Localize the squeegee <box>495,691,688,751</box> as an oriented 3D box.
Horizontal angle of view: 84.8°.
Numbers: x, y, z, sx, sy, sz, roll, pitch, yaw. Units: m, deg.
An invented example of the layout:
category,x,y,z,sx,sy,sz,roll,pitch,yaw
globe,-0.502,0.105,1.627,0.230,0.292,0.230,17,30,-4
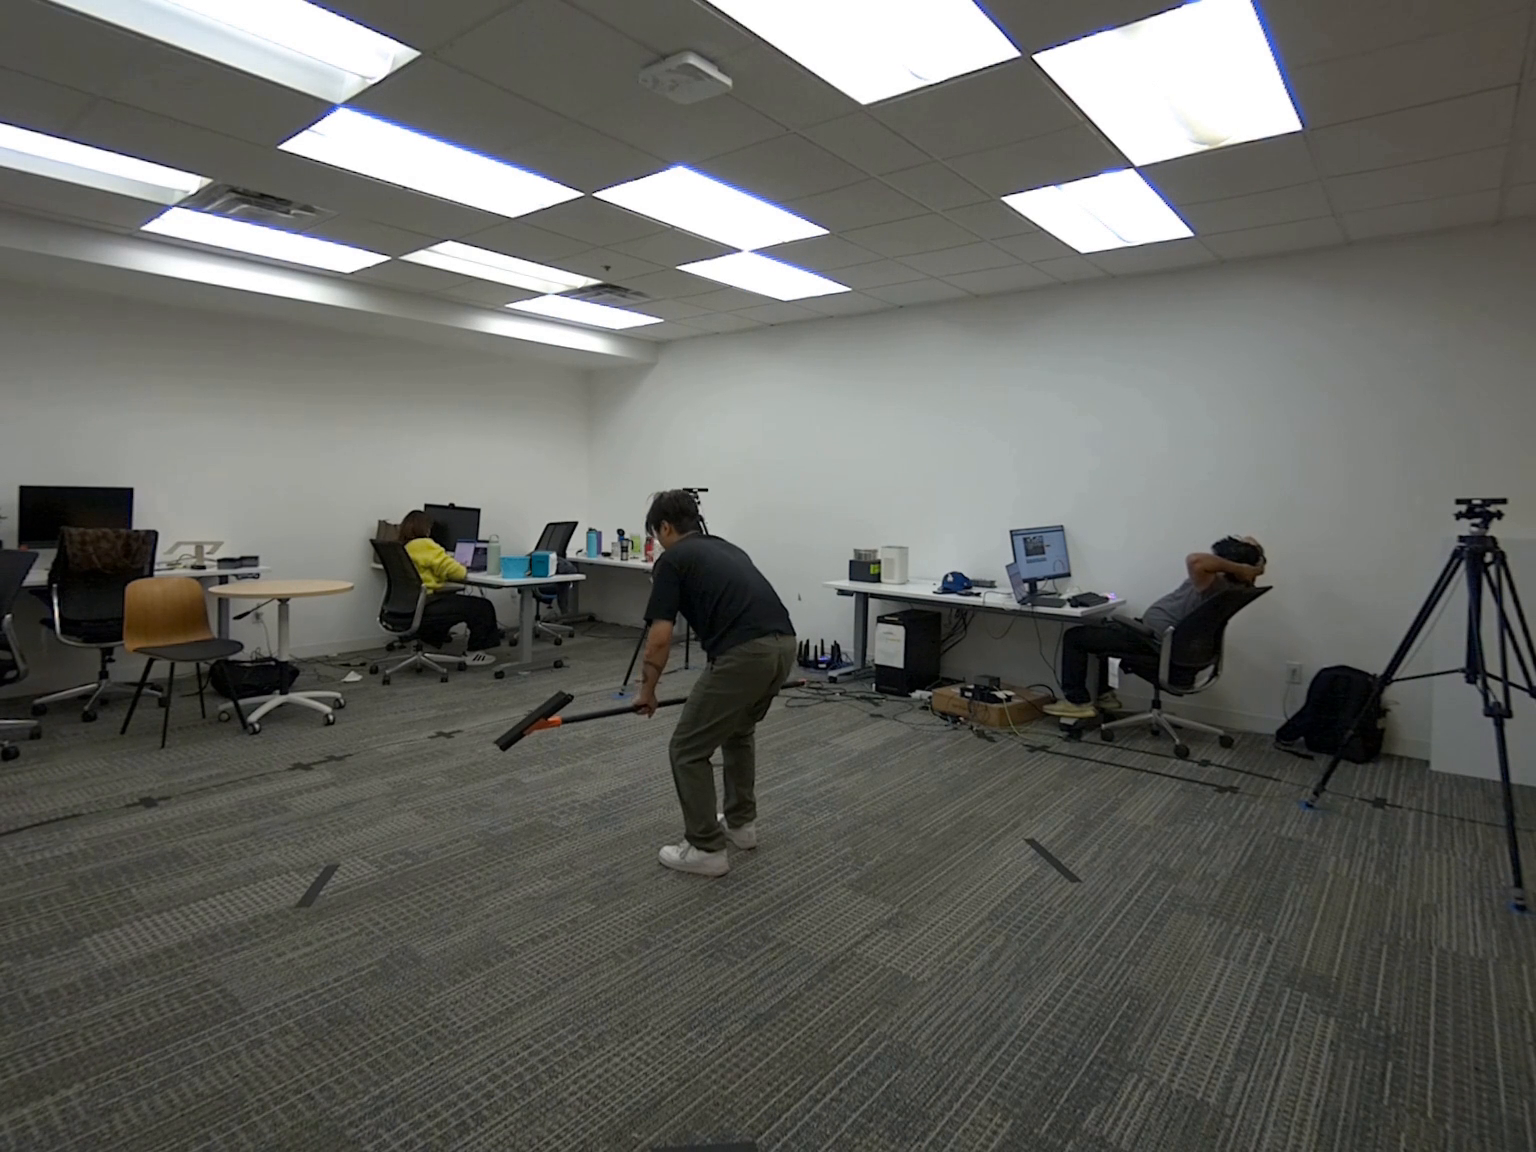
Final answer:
category,x,y,z,sx,sy,sz,roll,pitch,yaw
squeegee,-0.328,0.491,3.362,0.440,0.054,1.487,-37,-24,34
